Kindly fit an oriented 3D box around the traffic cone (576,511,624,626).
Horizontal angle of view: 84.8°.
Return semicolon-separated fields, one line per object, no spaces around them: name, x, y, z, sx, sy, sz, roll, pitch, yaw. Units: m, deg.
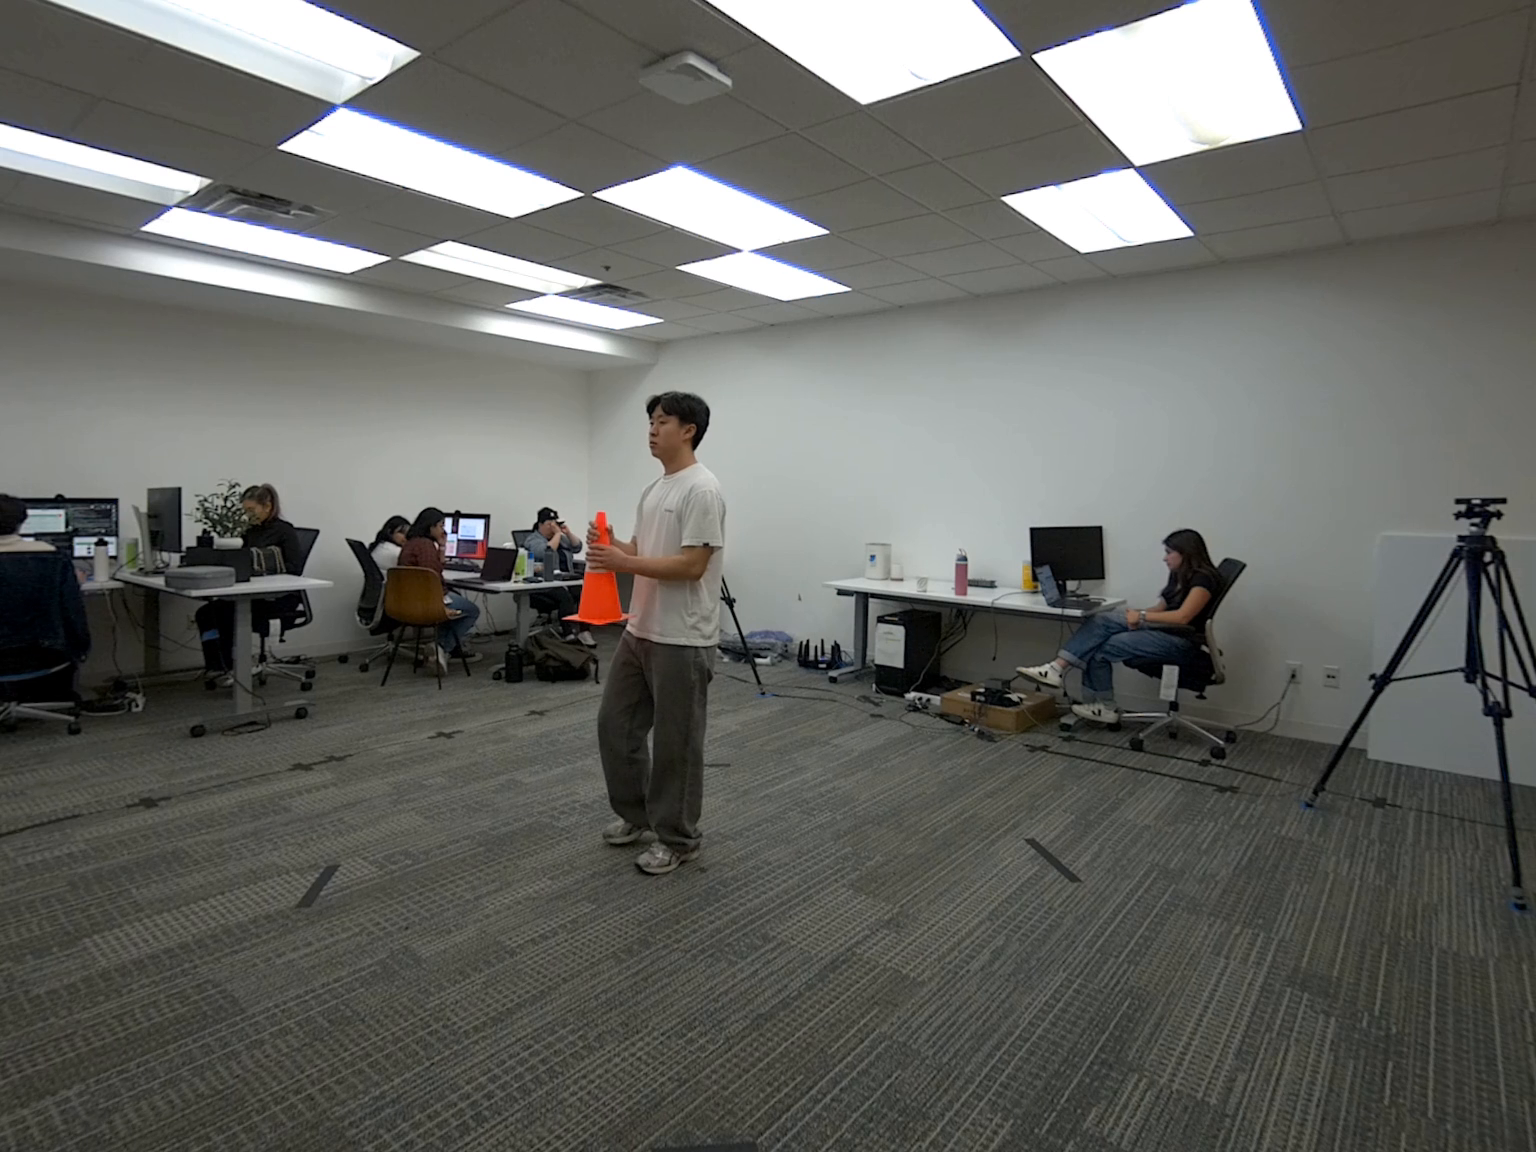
traffic cone;-0.613;-0.044;3.060;0.197;0.384;0.211;-1;0;-36
